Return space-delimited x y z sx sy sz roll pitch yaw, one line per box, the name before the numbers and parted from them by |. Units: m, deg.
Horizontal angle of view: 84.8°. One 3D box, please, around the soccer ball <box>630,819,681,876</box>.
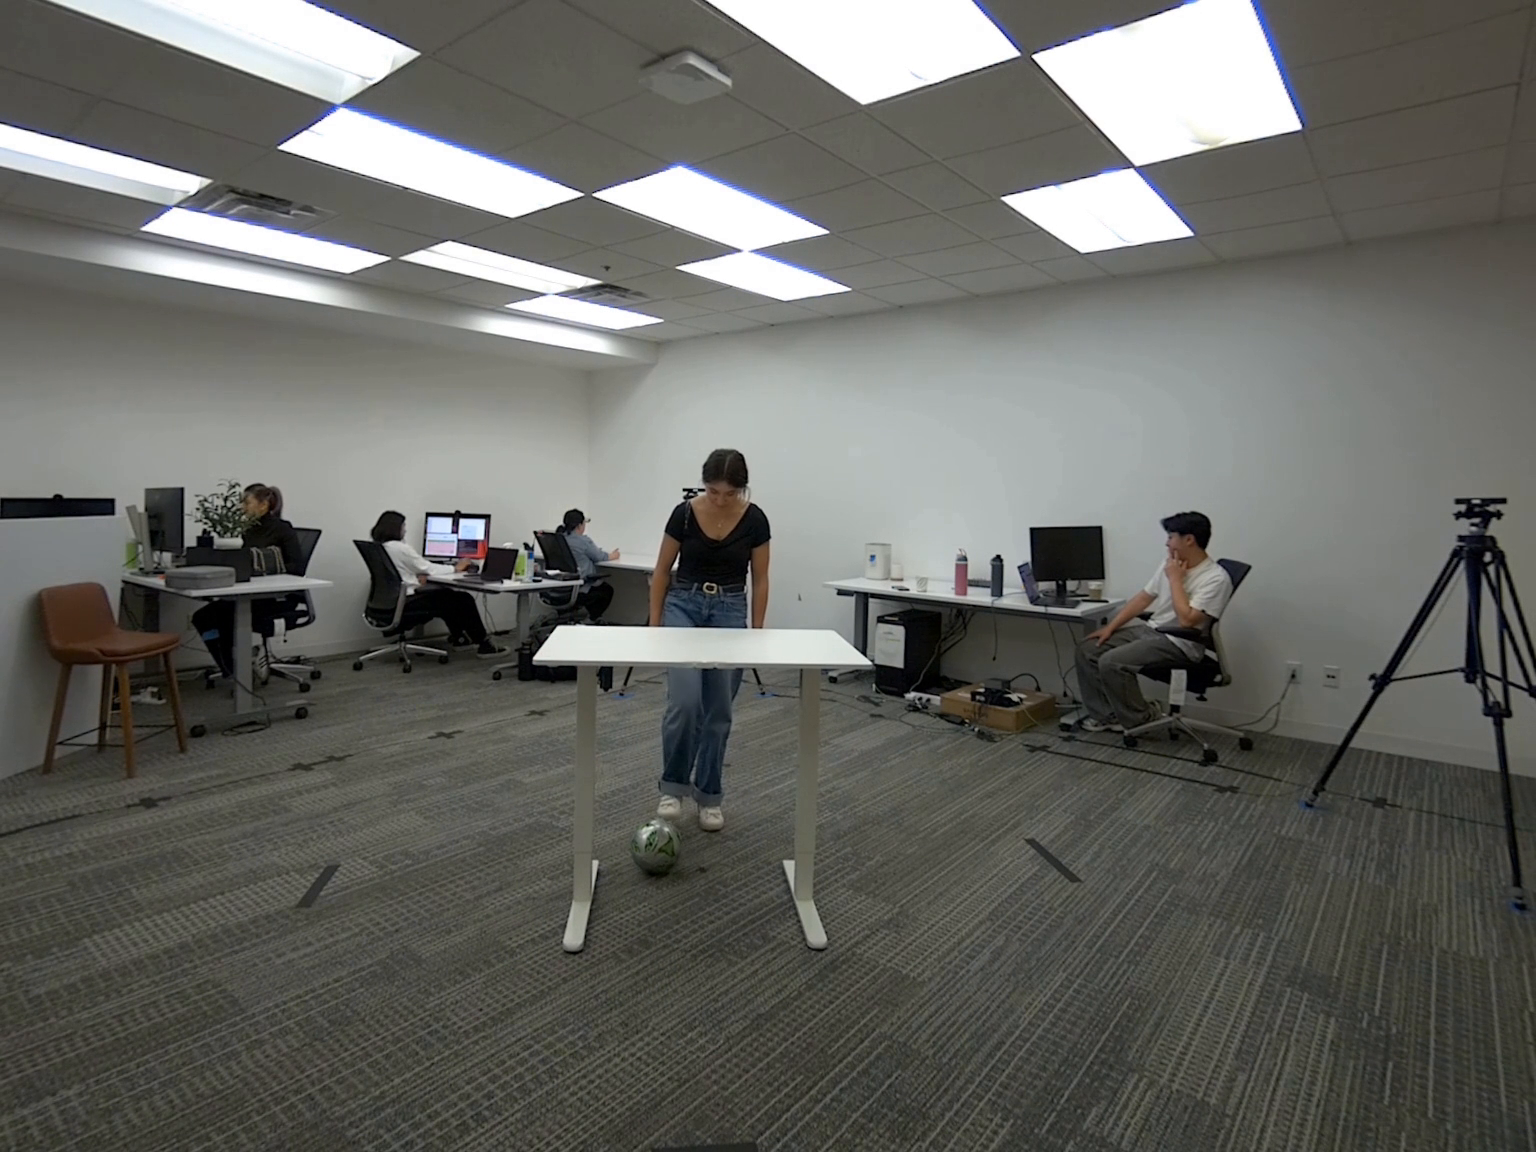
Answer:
soccer ball | -0.414 0.975 3.089 0.187 0.187 0.188 1 4 -2
